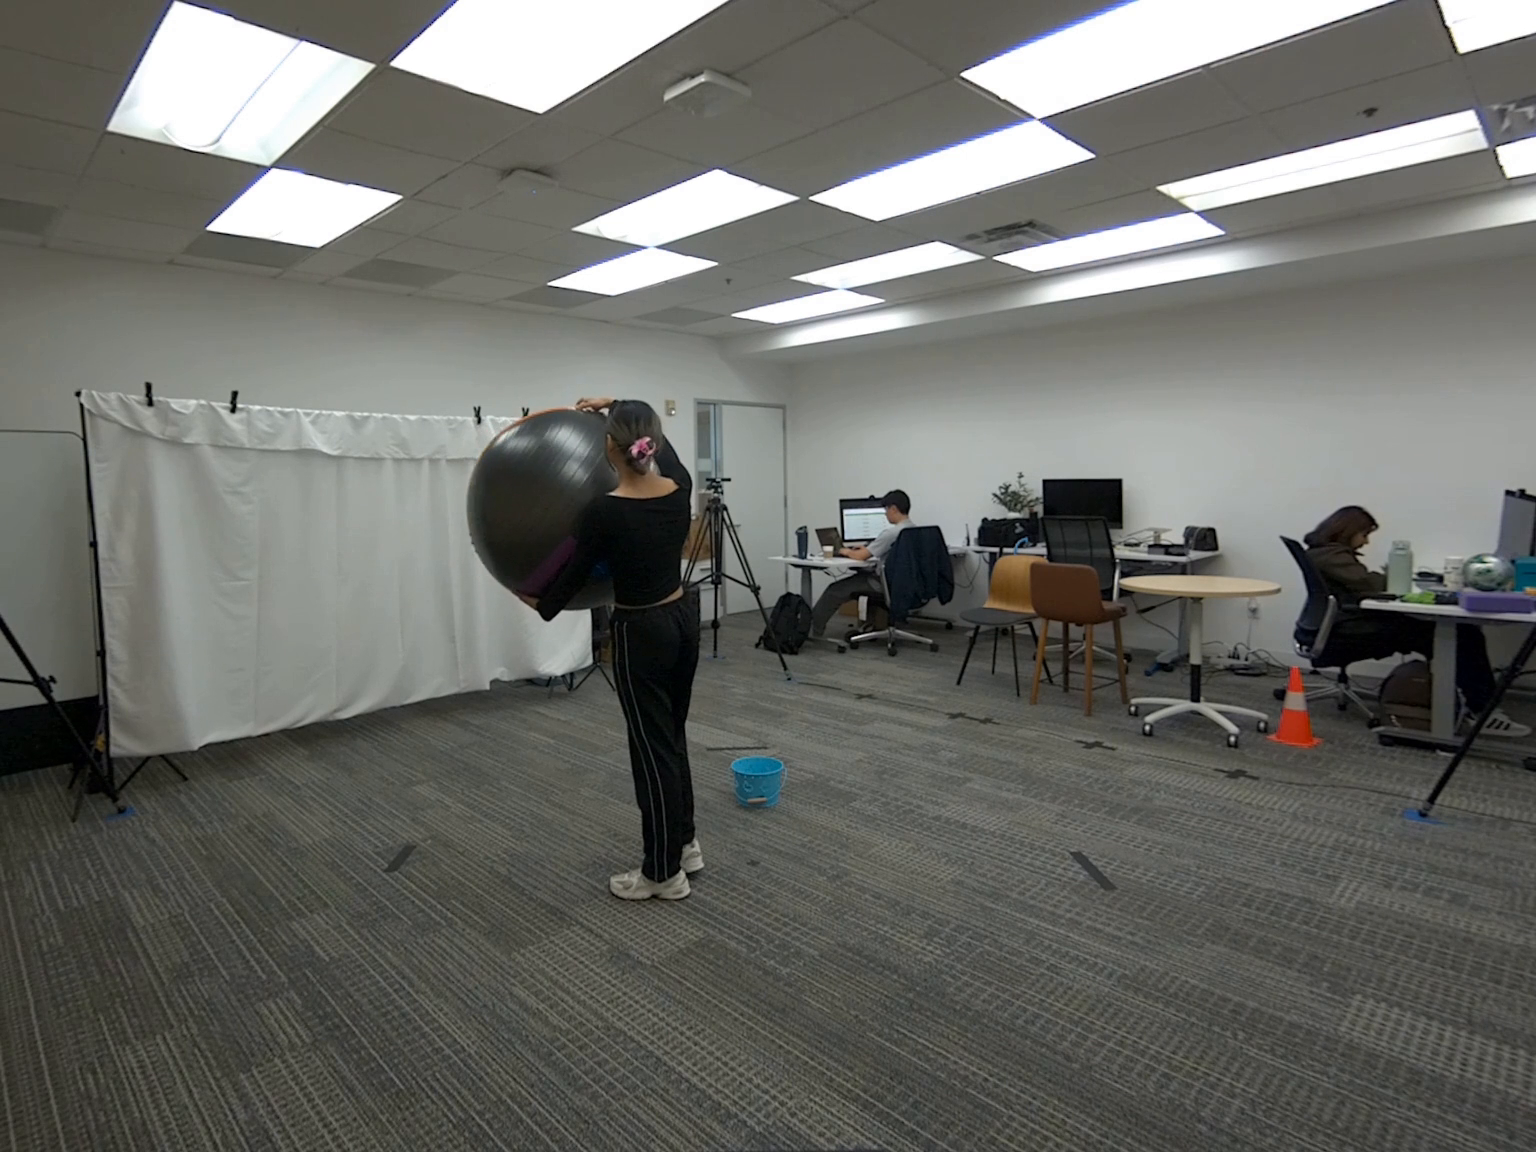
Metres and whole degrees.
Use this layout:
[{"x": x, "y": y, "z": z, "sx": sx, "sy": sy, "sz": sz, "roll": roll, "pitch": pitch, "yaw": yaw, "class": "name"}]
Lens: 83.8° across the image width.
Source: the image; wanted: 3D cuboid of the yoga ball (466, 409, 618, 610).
[{"x": -0.737, "y": -0.244, "z": 3.194, "sx": 0.757, "sy": 0.755, "sz": 0.762, "roll": -1, "pitch": 5, "yaw": -2, "class": "yoga ball"}]
